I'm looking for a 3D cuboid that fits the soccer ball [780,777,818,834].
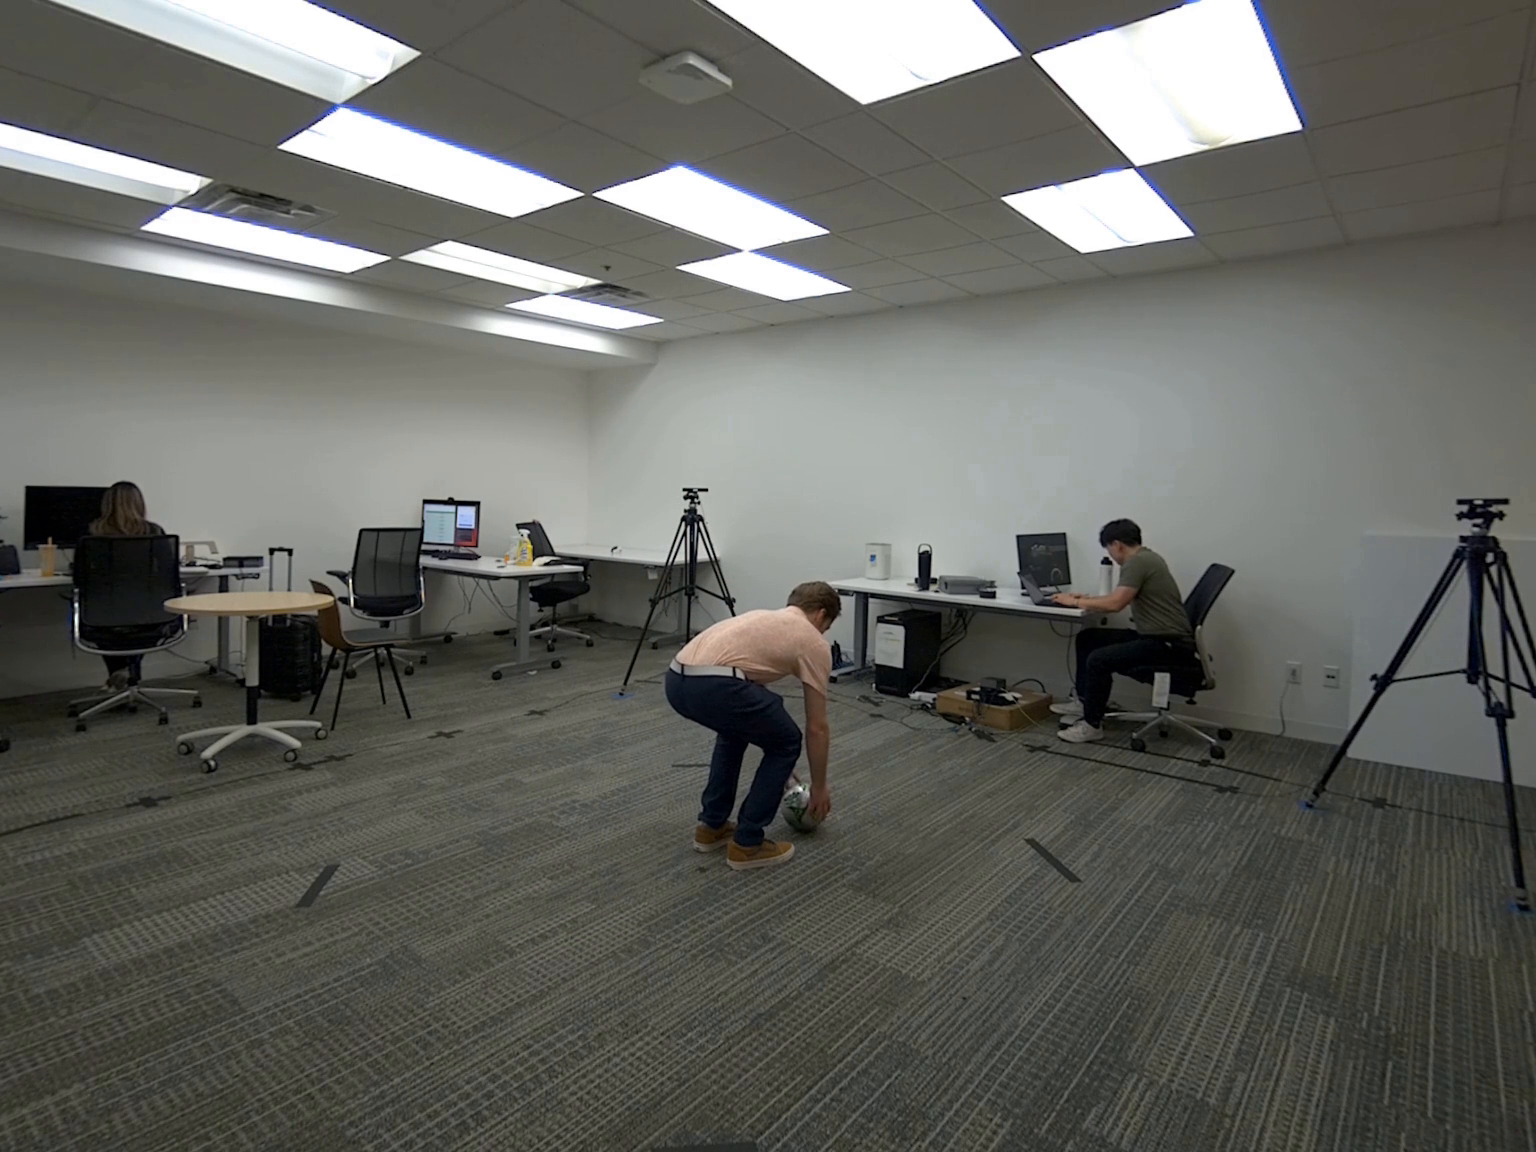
[{"bbox_3d":[0.141,0.950,3.495,0.187,0.187,0.188,1,4,-2],"label":"soccer ball"}]
